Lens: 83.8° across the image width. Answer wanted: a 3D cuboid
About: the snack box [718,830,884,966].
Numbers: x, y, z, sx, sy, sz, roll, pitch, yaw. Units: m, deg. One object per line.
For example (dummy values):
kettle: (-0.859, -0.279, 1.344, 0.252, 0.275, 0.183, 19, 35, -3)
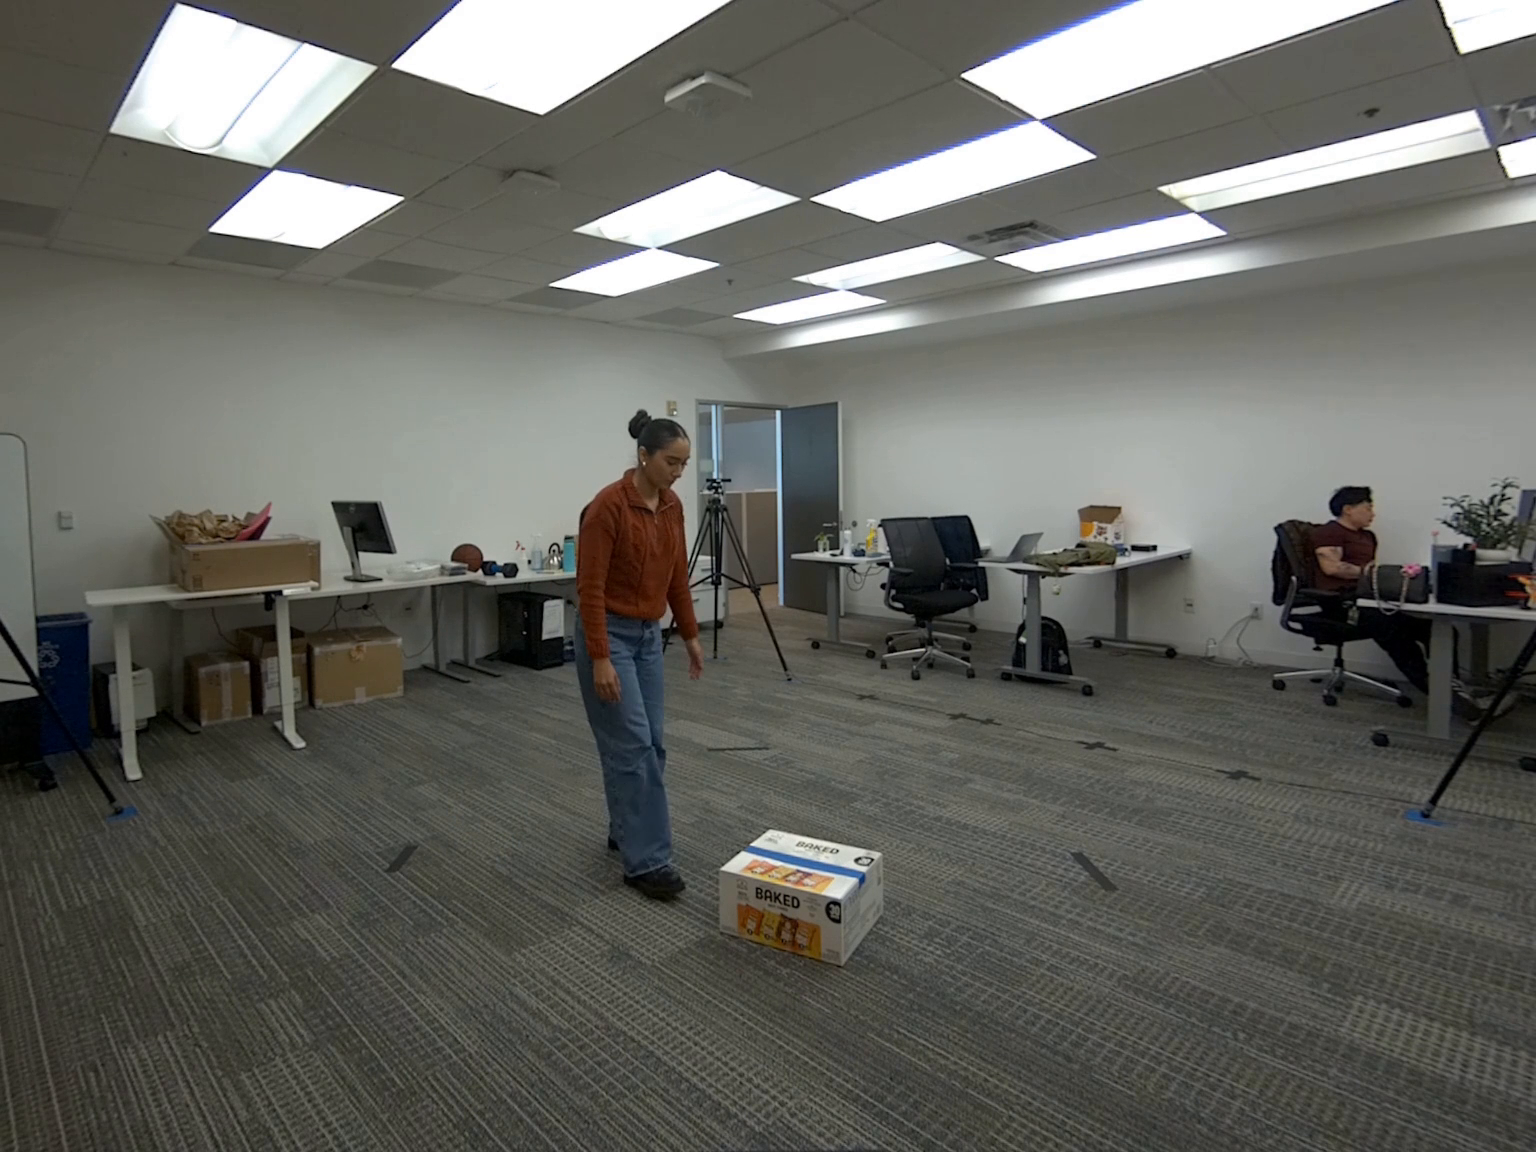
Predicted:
snack box: (0.113, 0.992, 2.667, 0.415, 0.205, 0.333, 2, 7, 29)
